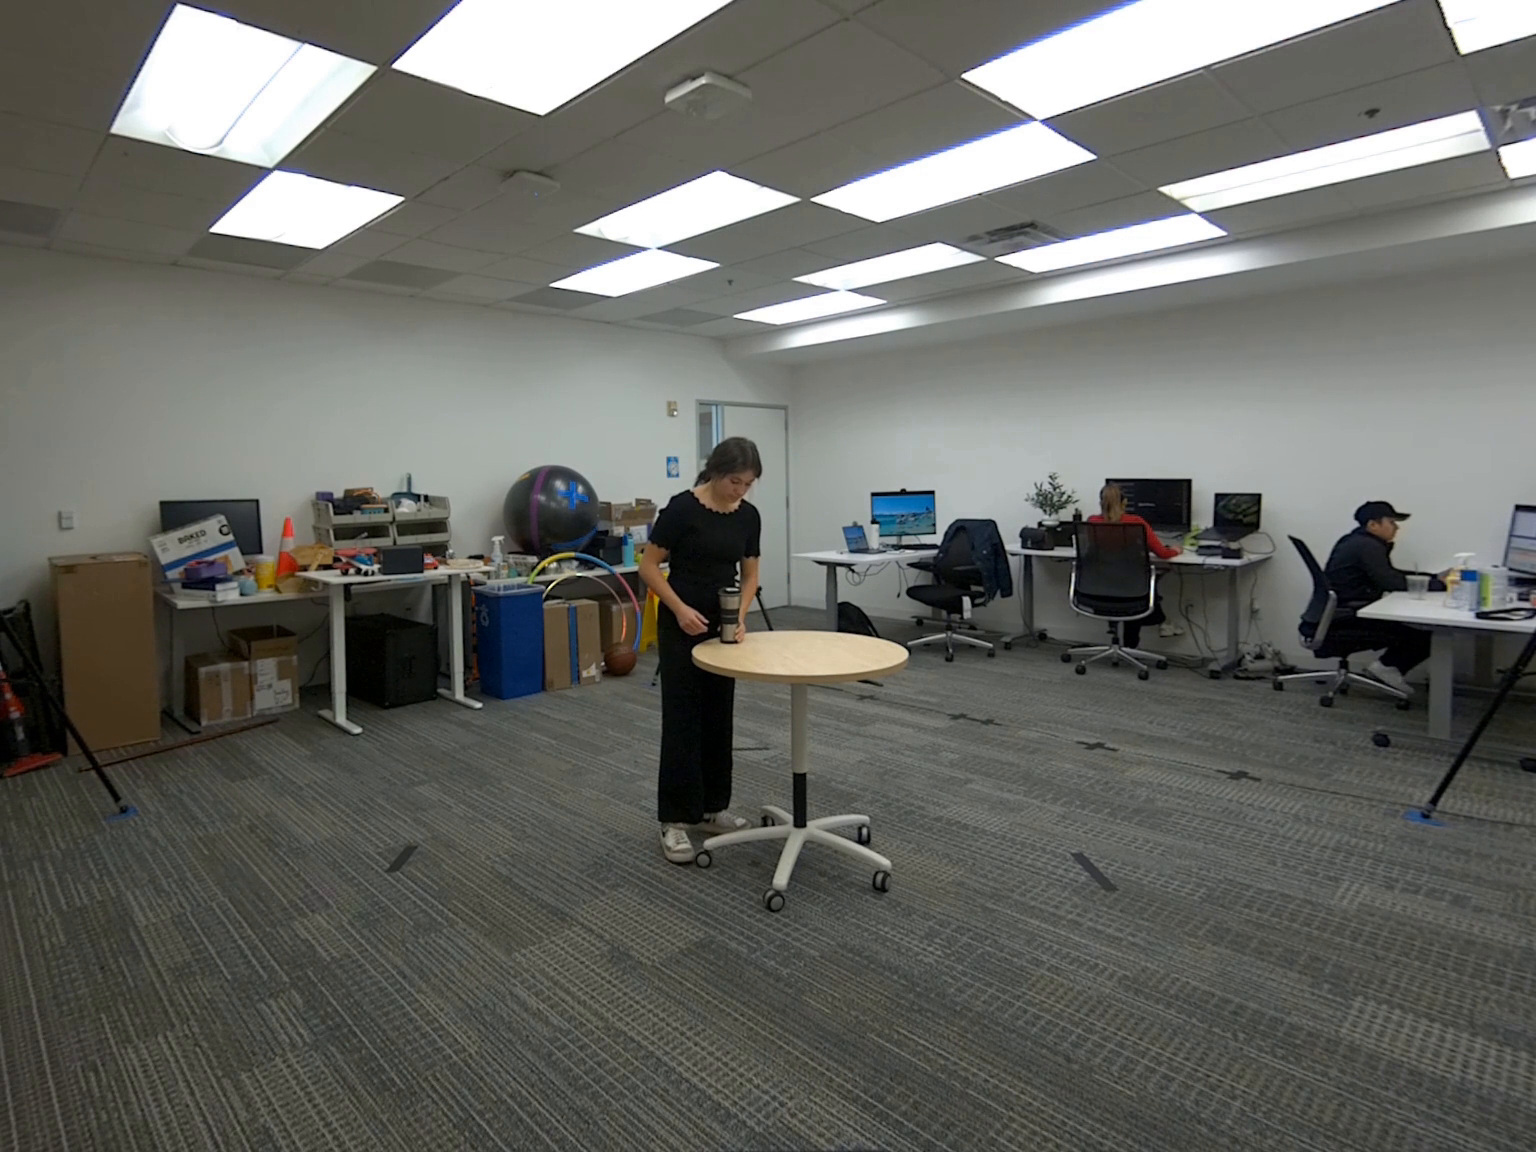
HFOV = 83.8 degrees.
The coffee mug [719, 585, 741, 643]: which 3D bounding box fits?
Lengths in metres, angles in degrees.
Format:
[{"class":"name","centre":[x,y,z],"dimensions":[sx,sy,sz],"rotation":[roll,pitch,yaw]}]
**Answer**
[{"class":"coffee mug","centre":[-0.135,0.147,3.205],"dimensions":[0.090,0.202,0.119],"rotation":[-3,6,44]}]
